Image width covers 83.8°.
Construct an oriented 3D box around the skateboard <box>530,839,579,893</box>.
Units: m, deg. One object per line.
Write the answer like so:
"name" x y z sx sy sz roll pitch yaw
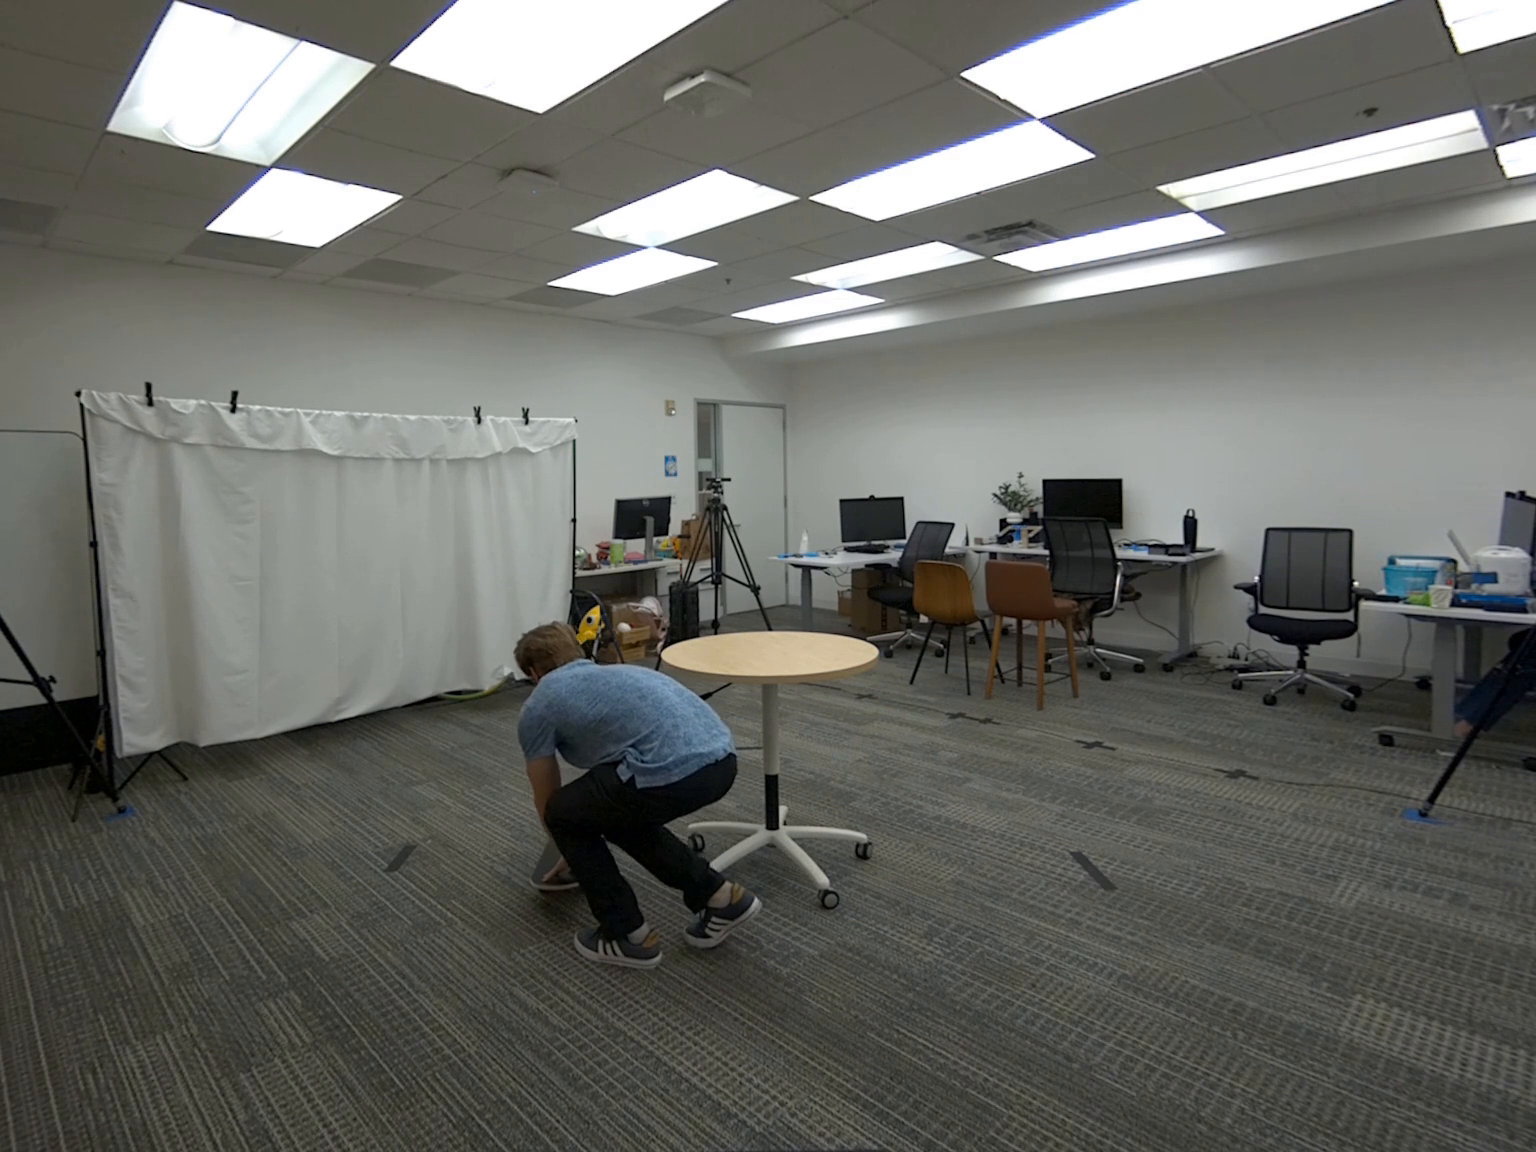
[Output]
"skateboard" -0.702 1.000 3.121 0.193 0.110 0.790 -1 6 -3
